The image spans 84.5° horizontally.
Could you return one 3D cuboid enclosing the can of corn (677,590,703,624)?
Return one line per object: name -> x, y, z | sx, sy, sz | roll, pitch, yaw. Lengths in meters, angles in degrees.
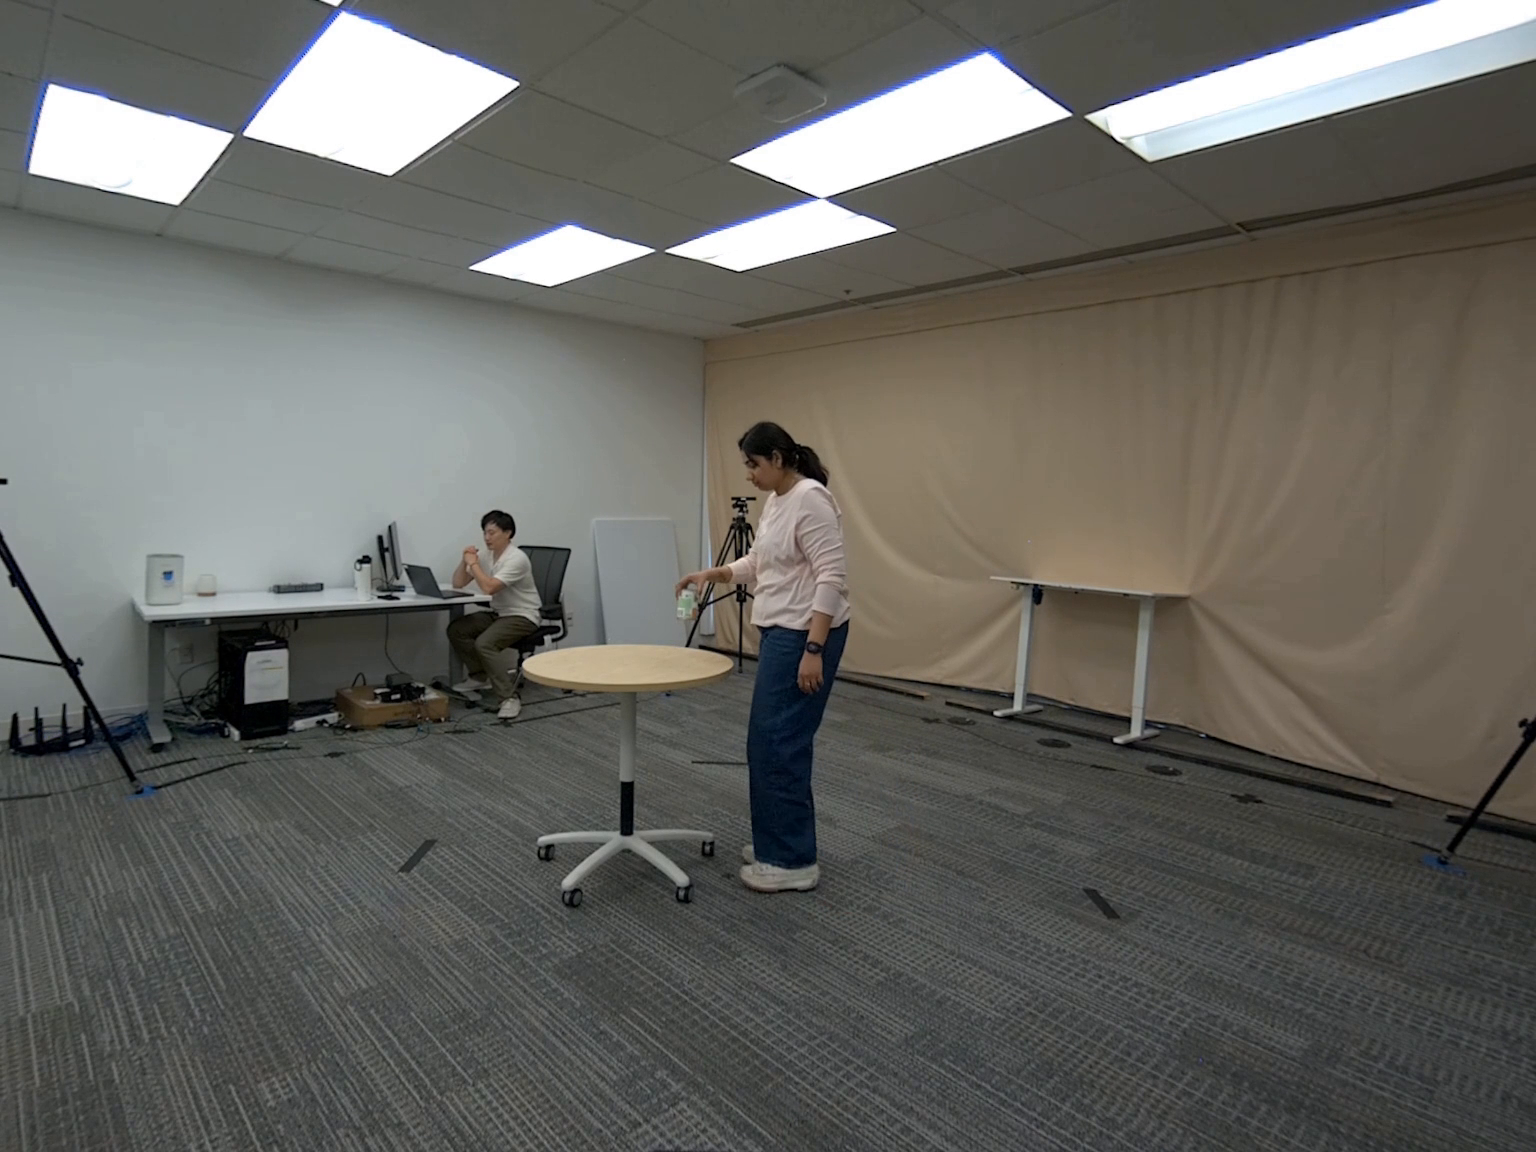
can of corn -> -0.291, 0.113, 3.127 | 0.074, 0.111, 0.074 | 8, -3, -1
